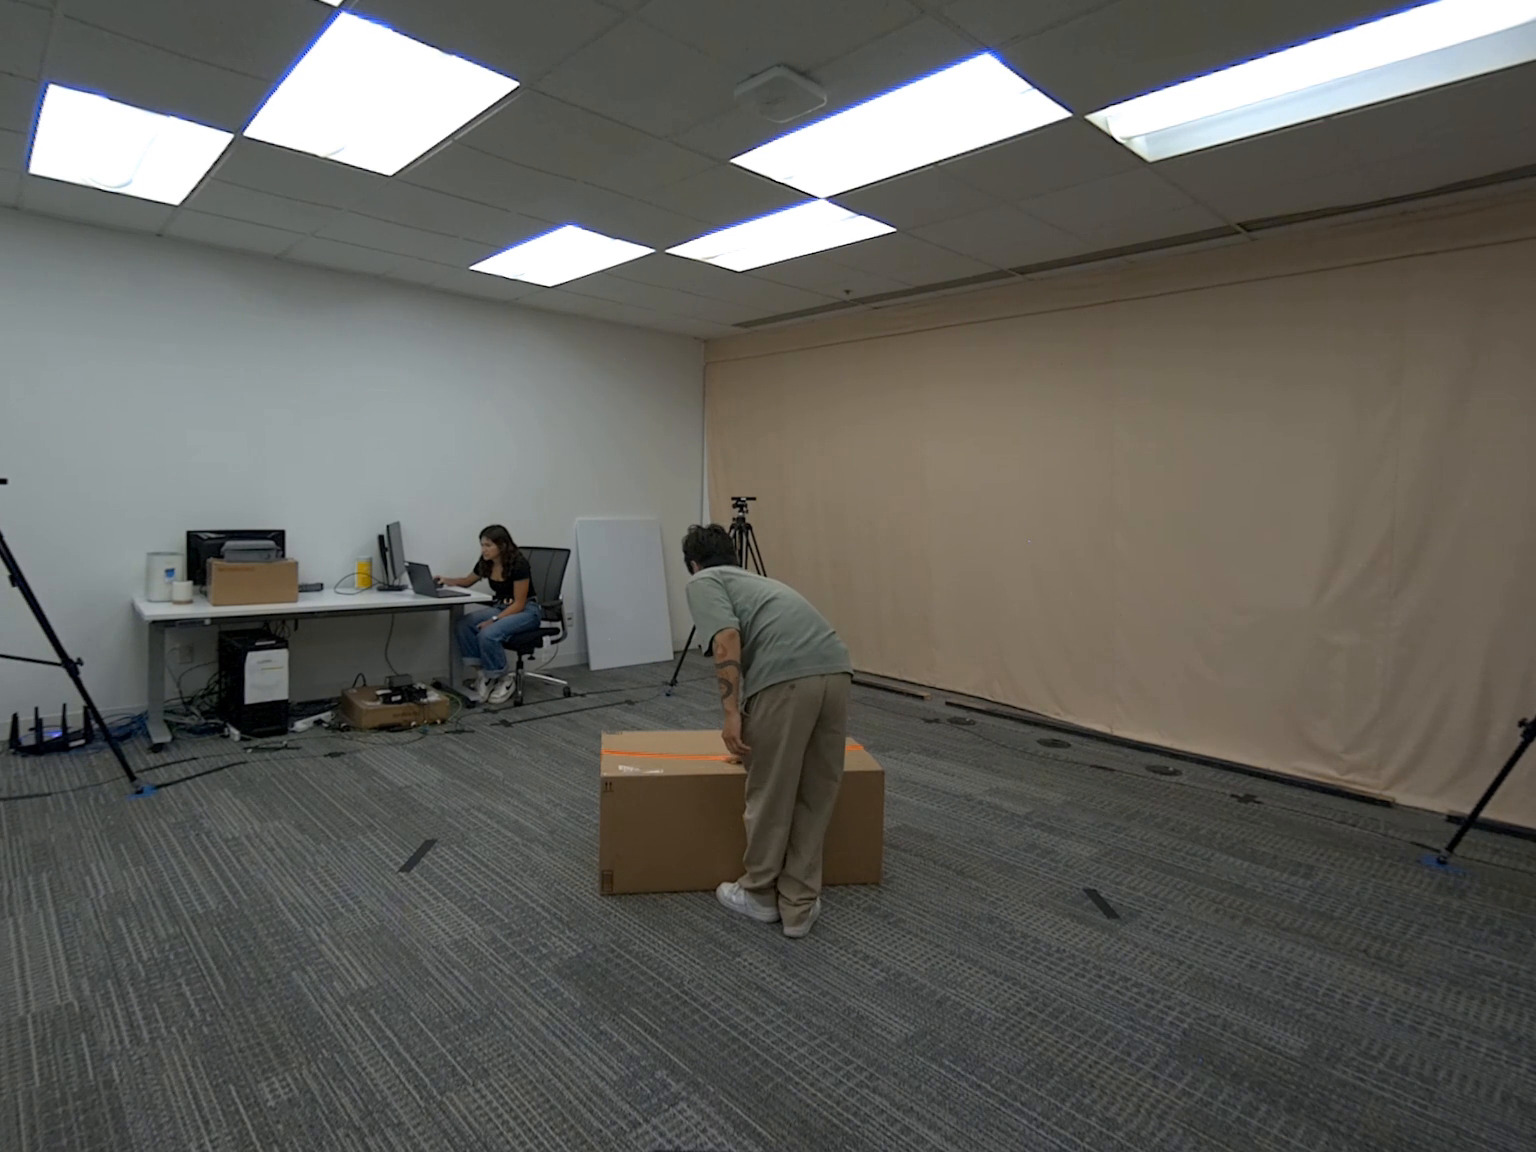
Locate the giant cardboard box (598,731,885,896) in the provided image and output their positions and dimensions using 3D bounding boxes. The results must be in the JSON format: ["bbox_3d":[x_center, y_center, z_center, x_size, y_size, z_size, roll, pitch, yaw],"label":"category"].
[{"bbox_3d":[-0.143,0.880,3.270,1.019,0.425,0.583,1,5,-9],"label":"giant cardboard box"}]
